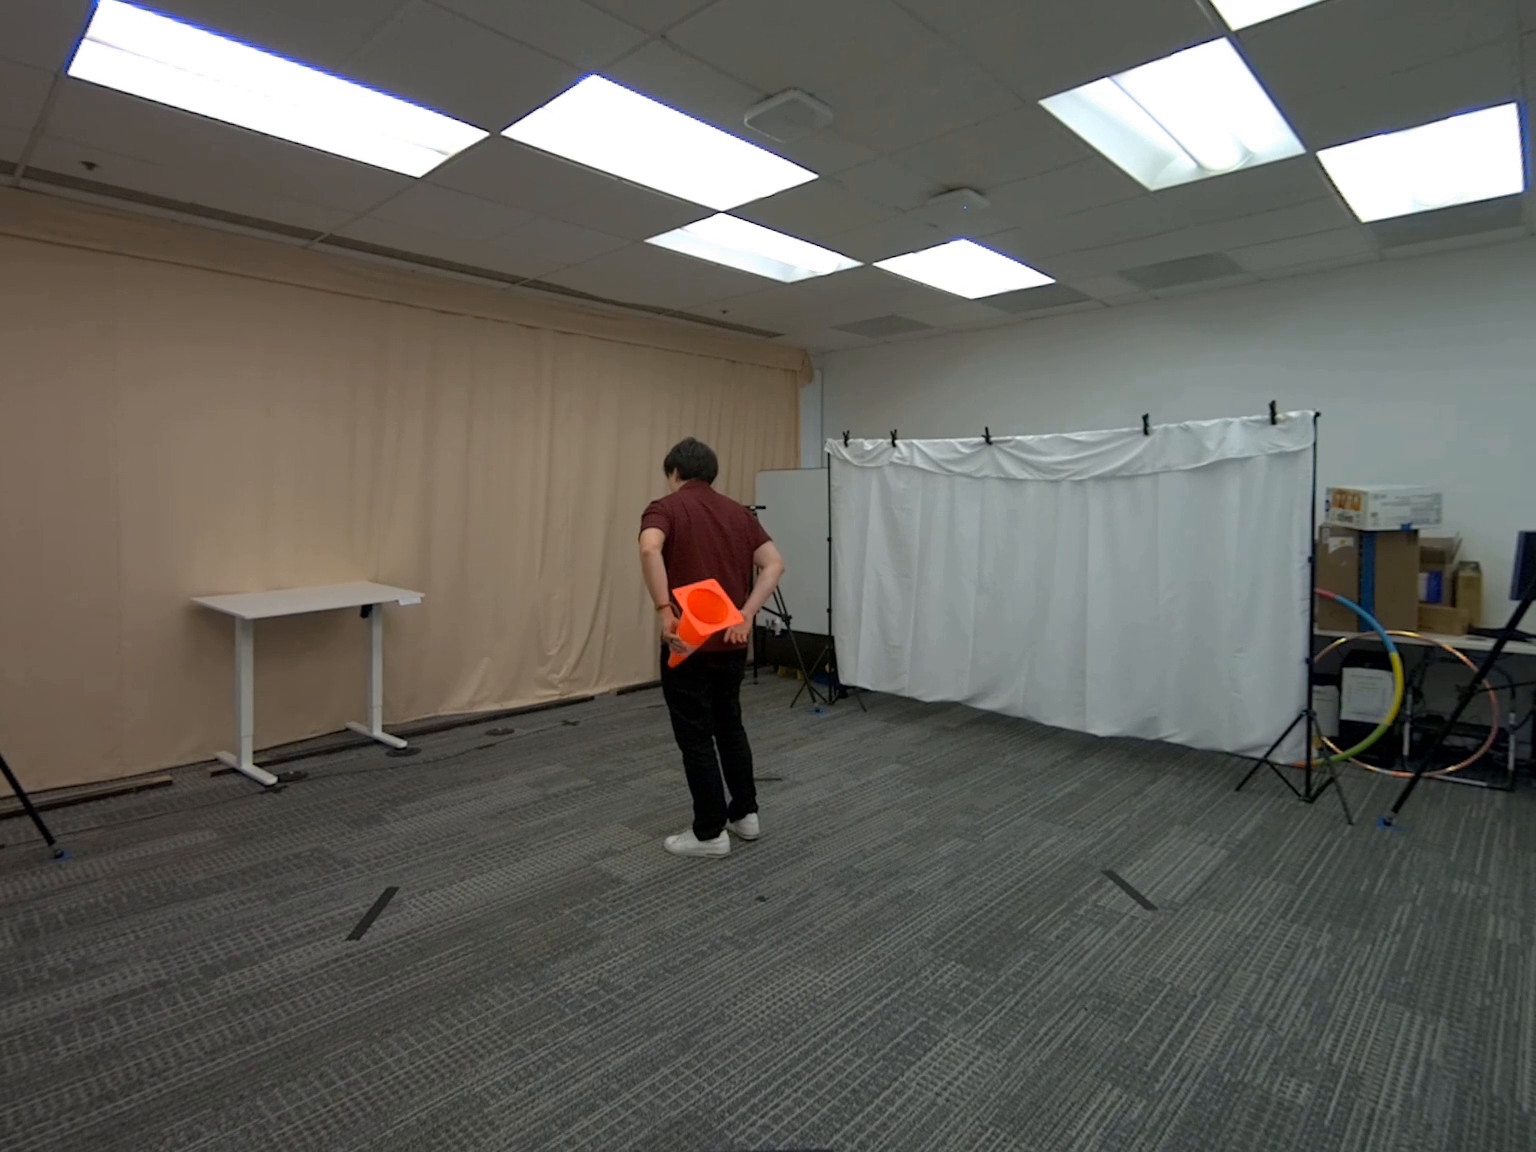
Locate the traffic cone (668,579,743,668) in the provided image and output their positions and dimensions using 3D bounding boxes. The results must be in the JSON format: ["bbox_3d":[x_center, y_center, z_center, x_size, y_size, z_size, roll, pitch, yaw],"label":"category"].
[{"bbox_3d":[-0.290,0.223,3.034,0.200,0.208,0.384,-17,-29,-42],"label":"traffic cone"}]
